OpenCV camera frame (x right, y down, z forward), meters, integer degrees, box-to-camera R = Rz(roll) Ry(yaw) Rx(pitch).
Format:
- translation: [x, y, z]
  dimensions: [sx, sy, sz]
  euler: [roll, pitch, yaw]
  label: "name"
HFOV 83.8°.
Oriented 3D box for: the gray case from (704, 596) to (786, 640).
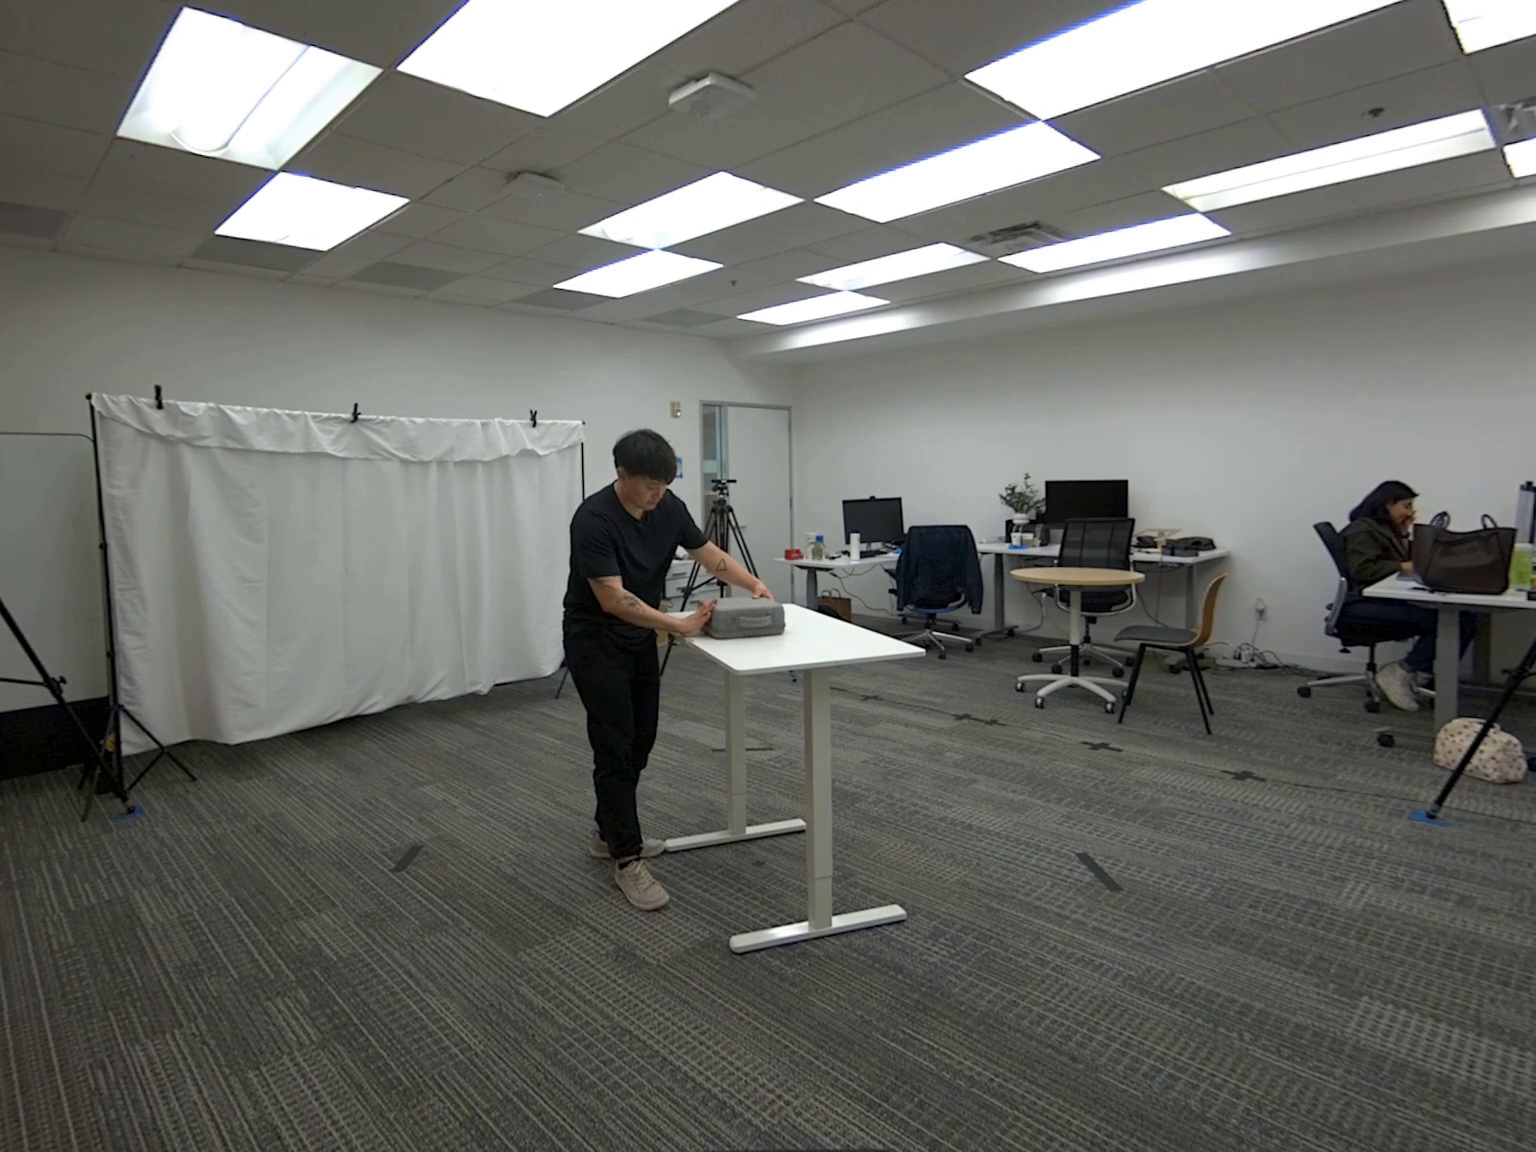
- translation: [-0.093, 0.138, 2.898]
  dimensions: [0.253, 0.104, 0.265]
  euler: [-2, 6, -17]
  label: "gray case"
